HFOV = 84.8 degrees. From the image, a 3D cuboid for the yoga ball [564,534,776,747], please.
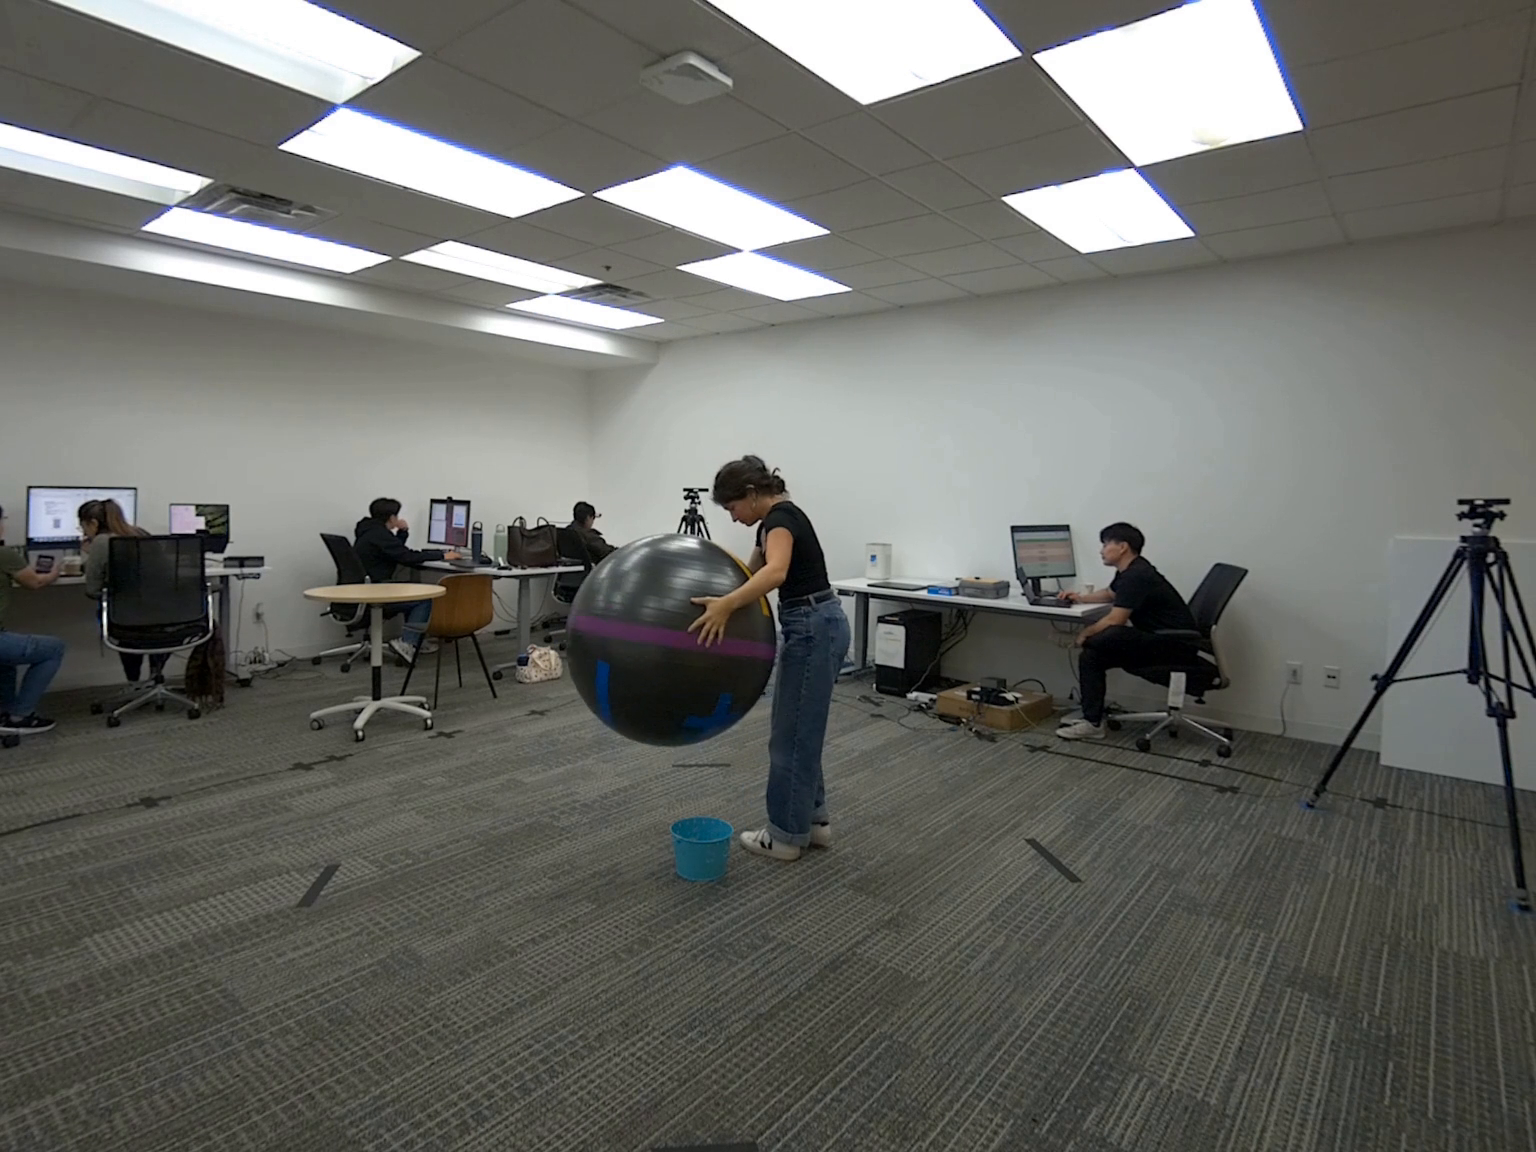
[{"bbox_3d":[-0.366,0.225,3.087,0.757,0.756,0.762,1,4,-2],"label":"yoga ball"}]
